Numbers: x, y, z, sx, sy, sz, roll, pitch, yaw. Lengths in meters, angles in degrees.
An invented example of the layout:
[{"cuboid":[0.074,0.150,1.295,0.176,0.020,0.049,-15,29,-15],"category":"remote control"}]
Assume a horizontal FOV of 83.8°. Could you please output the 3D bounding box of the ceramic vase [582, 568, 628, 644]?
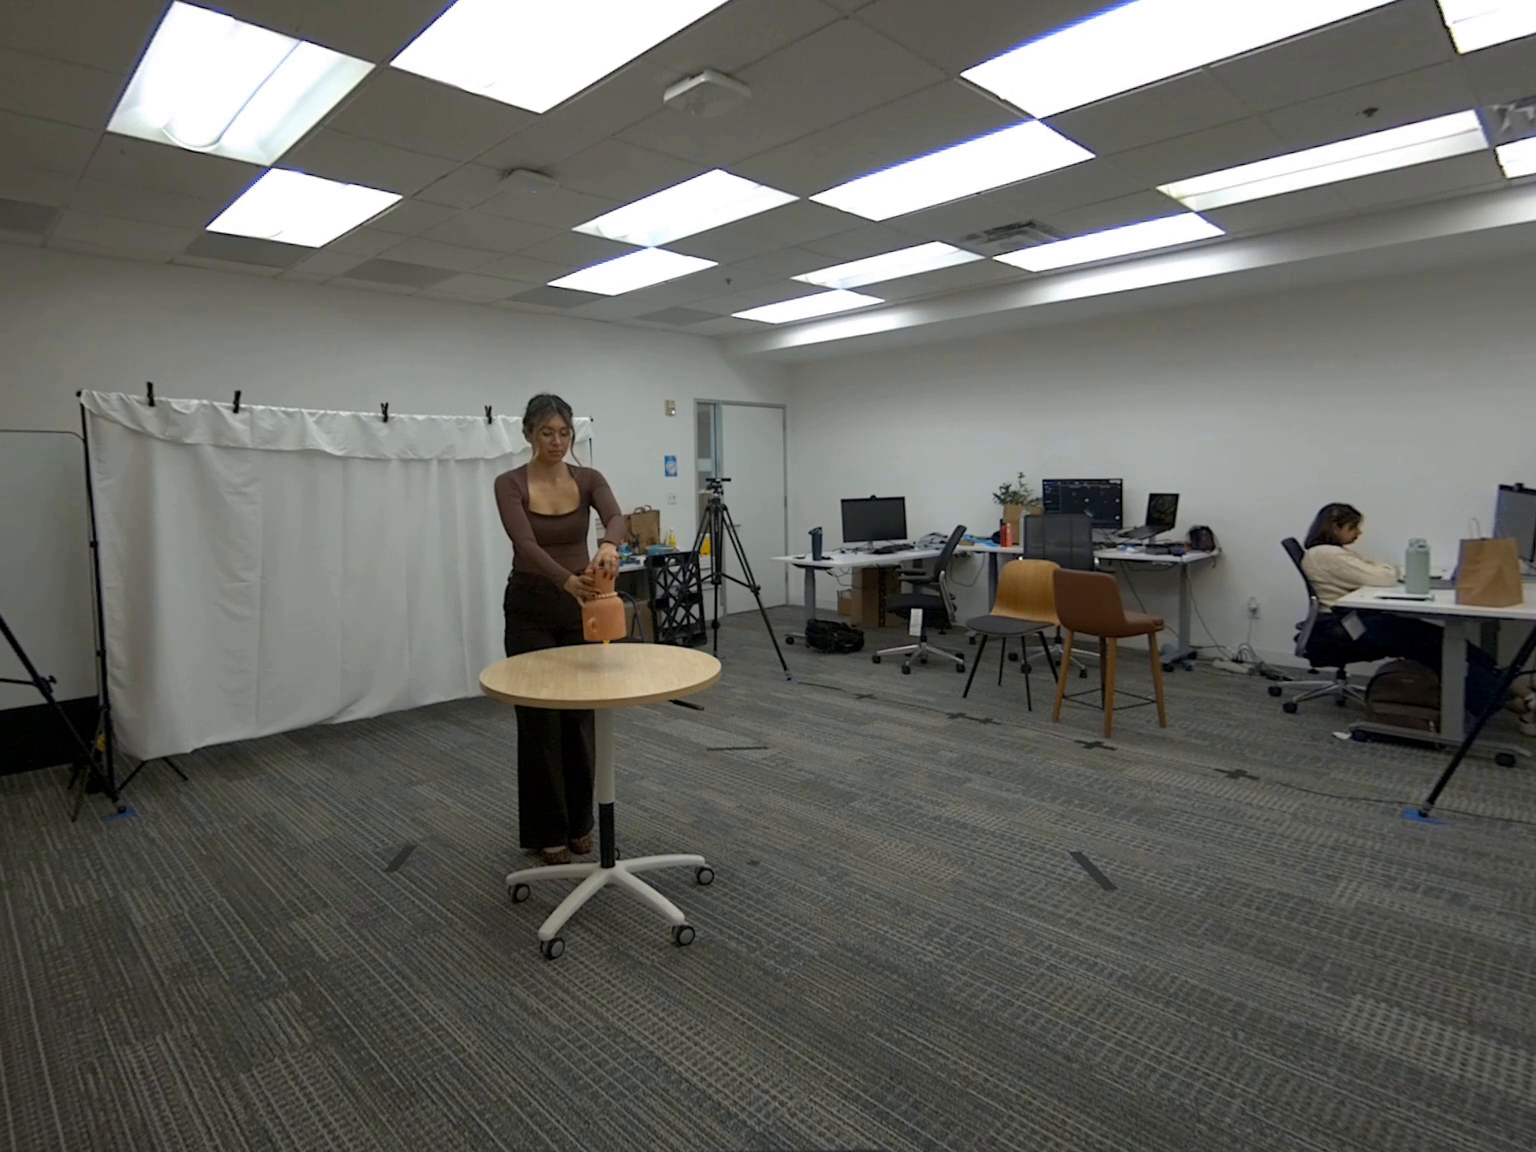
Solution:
[{"cuboid":[-0.523,0.087,2.729,0.132,0.220,0.161,-6,1,-19],"category":"ceramic vase"}]
